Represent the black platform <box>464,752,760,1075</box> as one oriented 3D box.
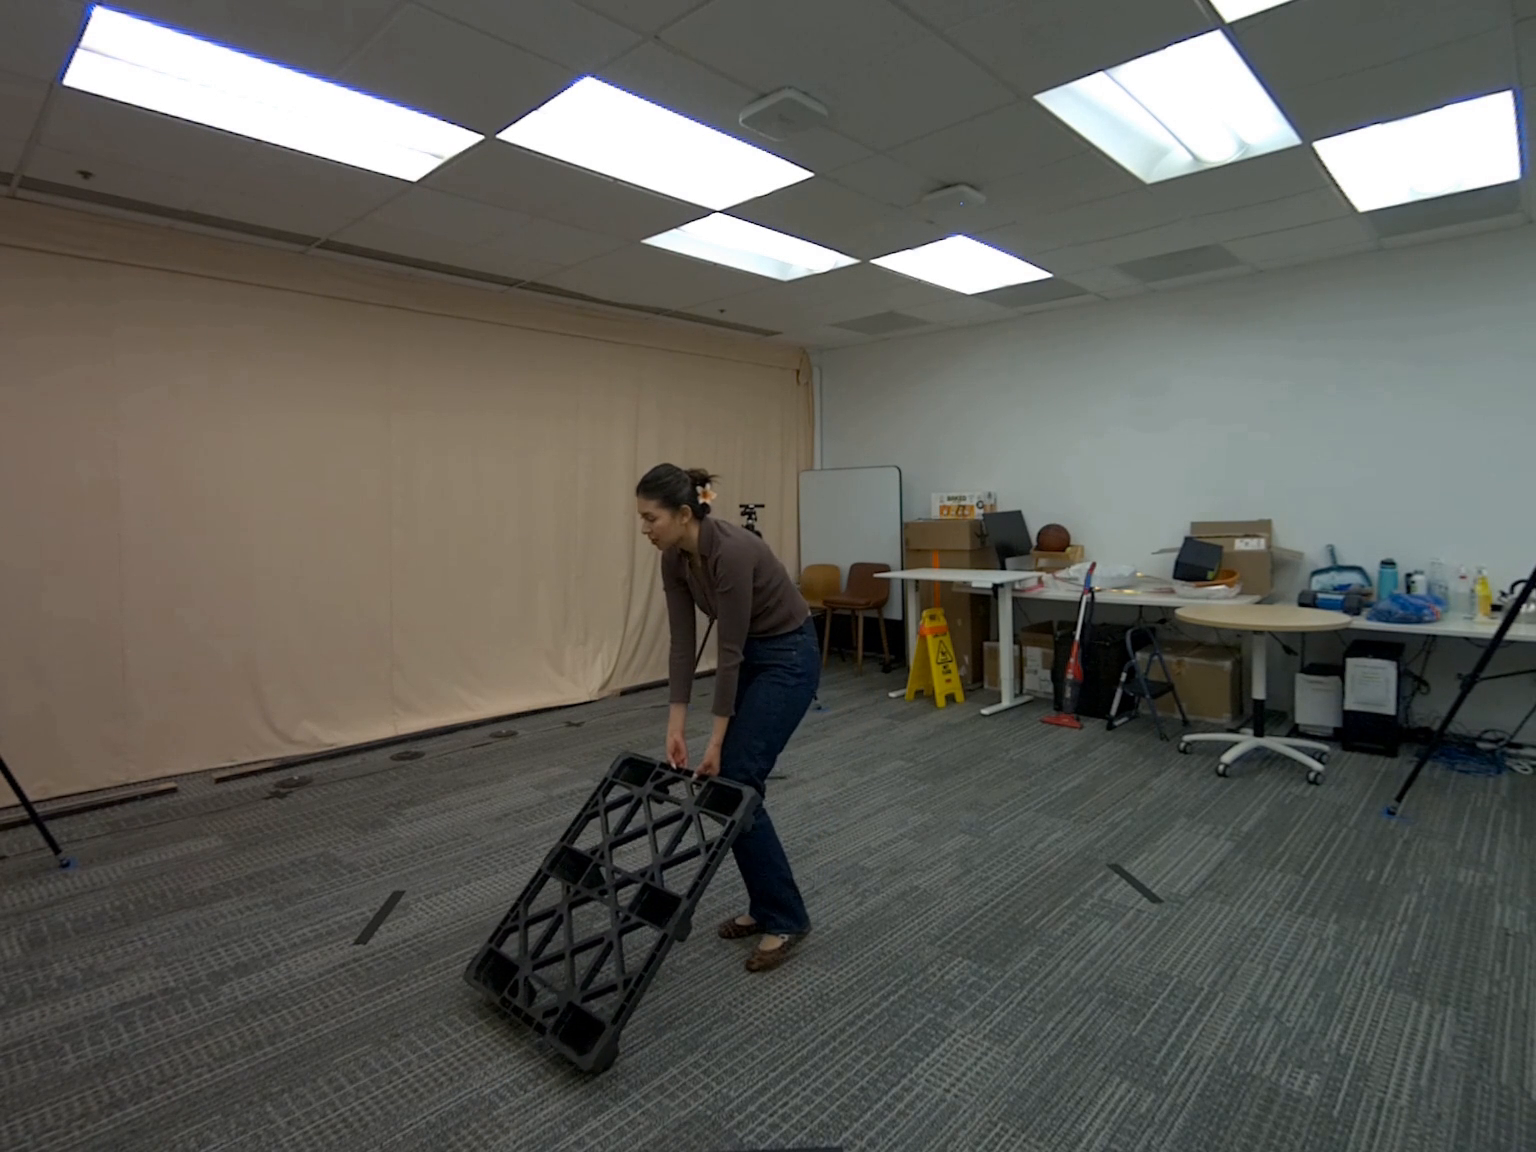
[{"bbox_3d":[-0.414,0.910,2.393,0.625,0.139,0.803,3,47,42],"label":"black platform"}]
